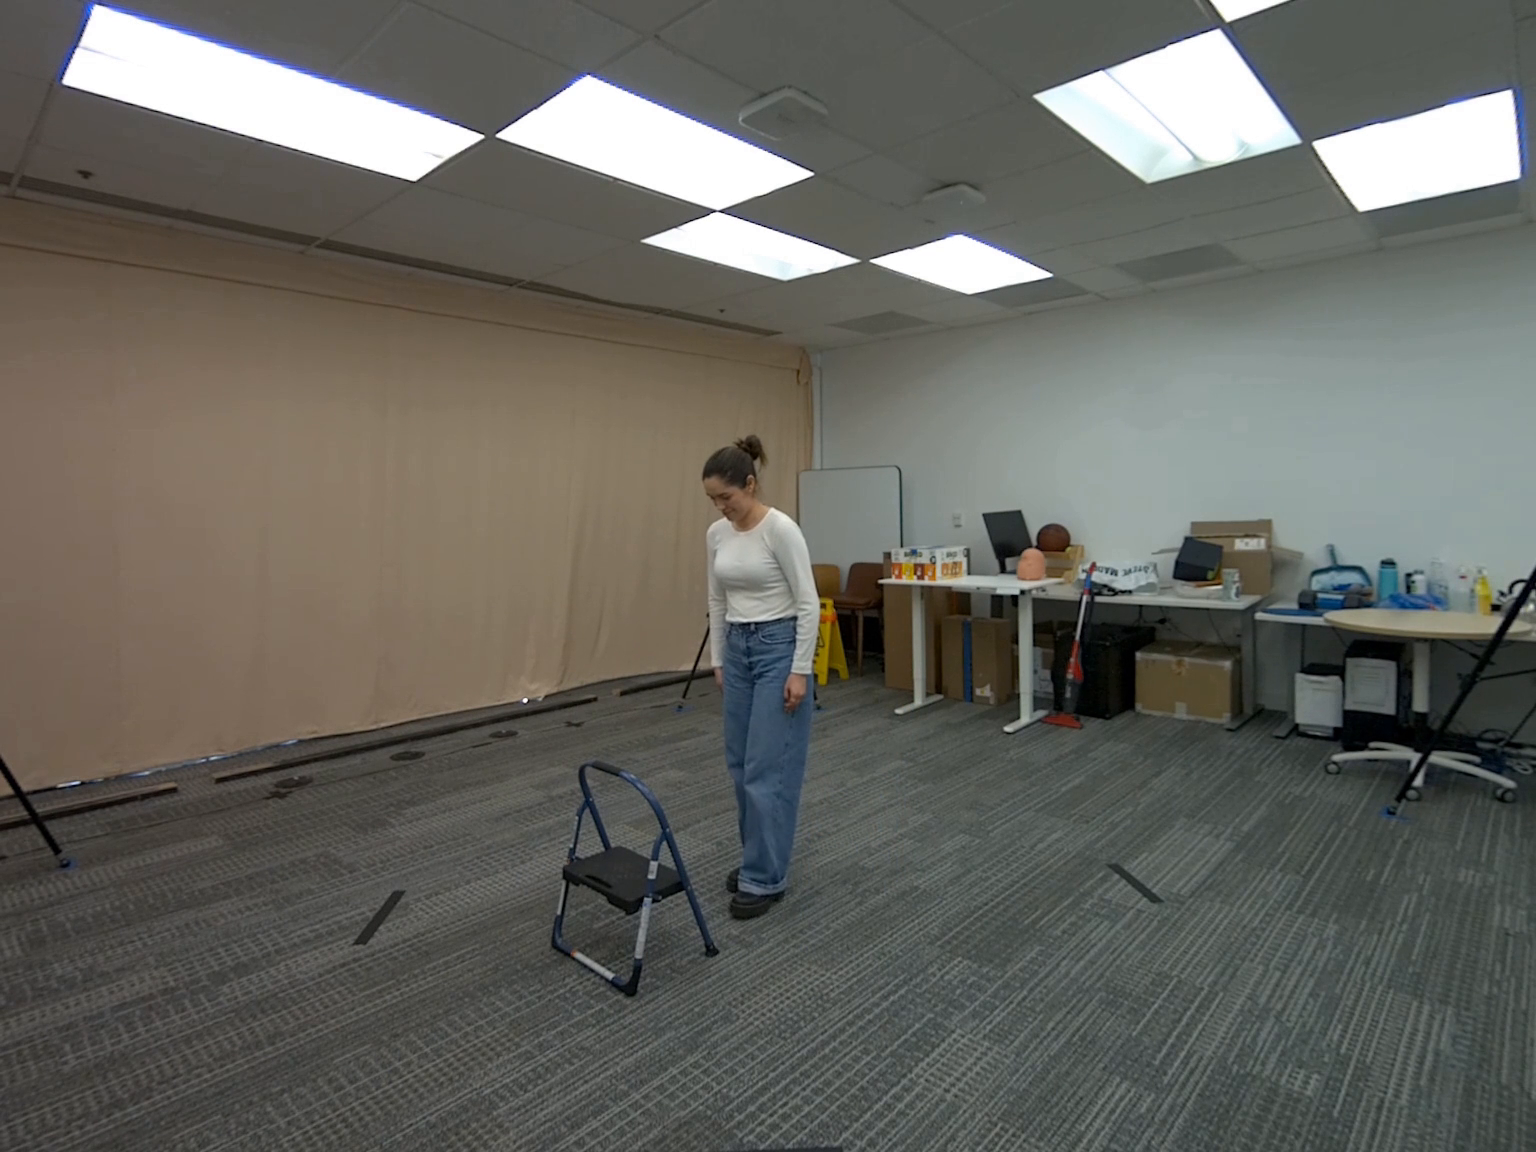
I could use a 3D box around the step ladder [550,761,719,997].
[{"bbox_3d":[-0.428,0.877,2.636,0.445,0.605,0.339,2,4,43],"label":"step ladder"}]
